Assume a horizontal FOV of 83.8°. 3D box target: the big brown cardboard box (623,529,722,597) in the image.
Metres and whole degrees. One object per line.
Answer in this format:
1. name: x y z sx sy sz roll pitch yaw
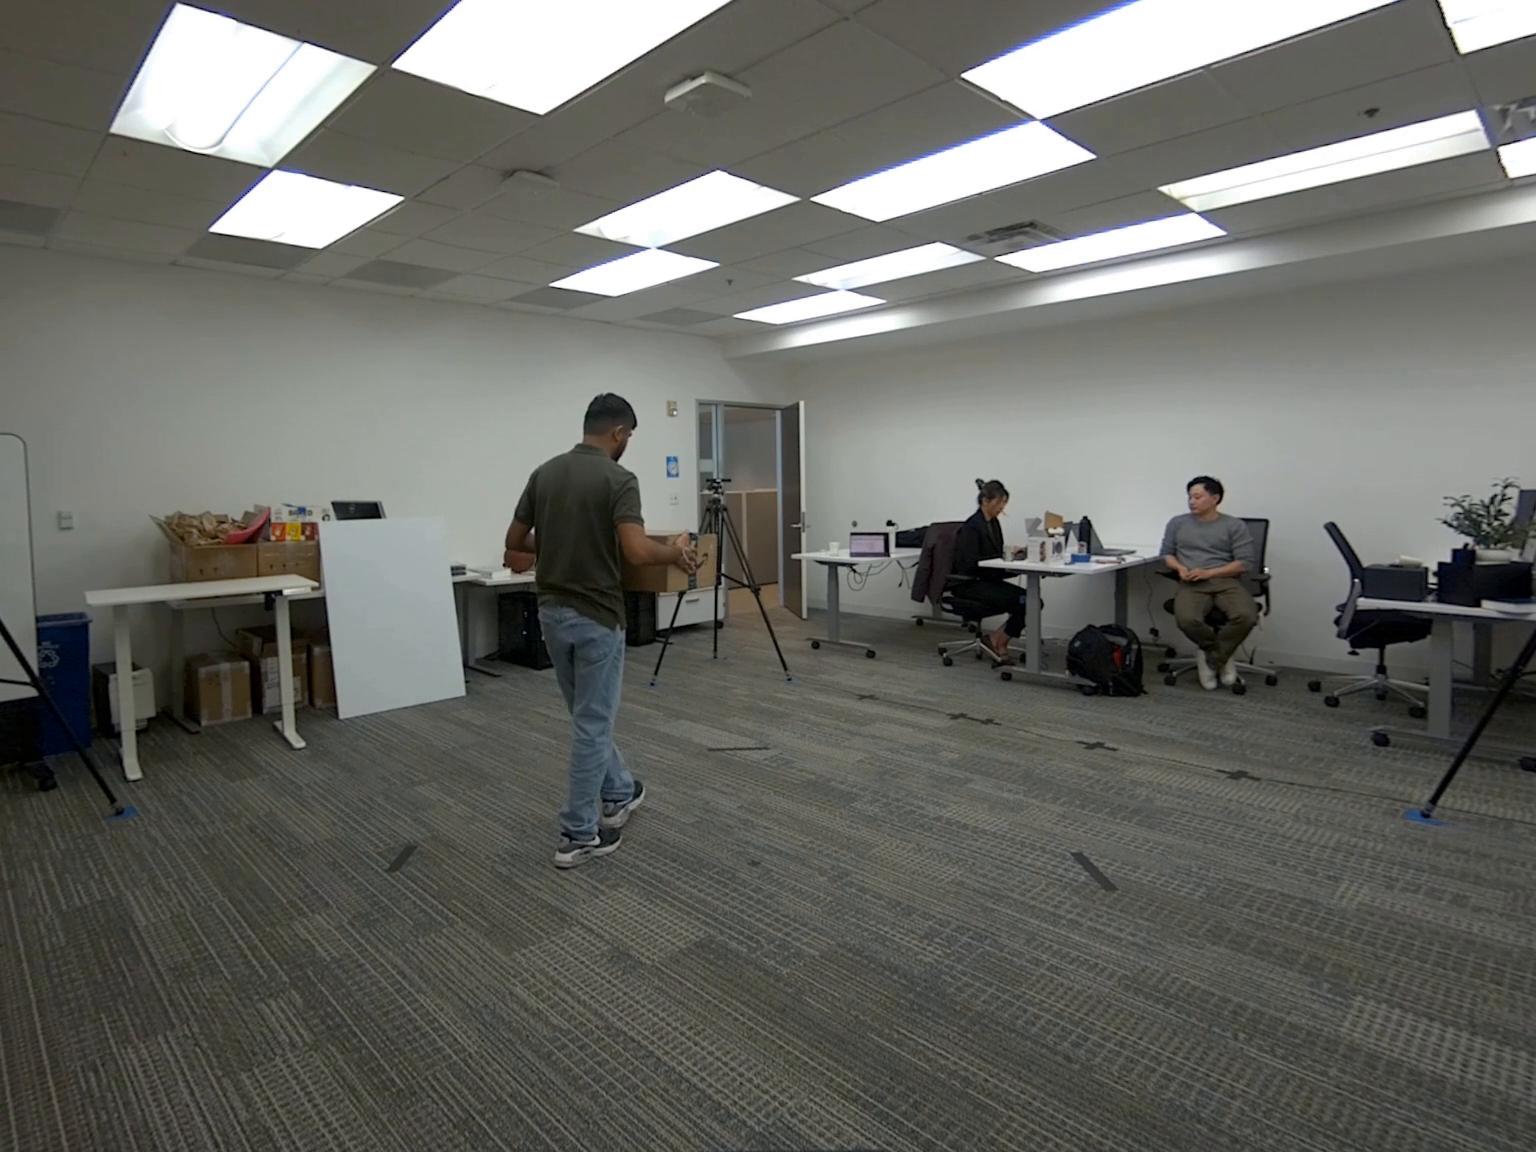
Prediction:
1. big brown cardboard box: -0.543 -0.069 3.450 0.602 0.232 0.410 2 4 22
